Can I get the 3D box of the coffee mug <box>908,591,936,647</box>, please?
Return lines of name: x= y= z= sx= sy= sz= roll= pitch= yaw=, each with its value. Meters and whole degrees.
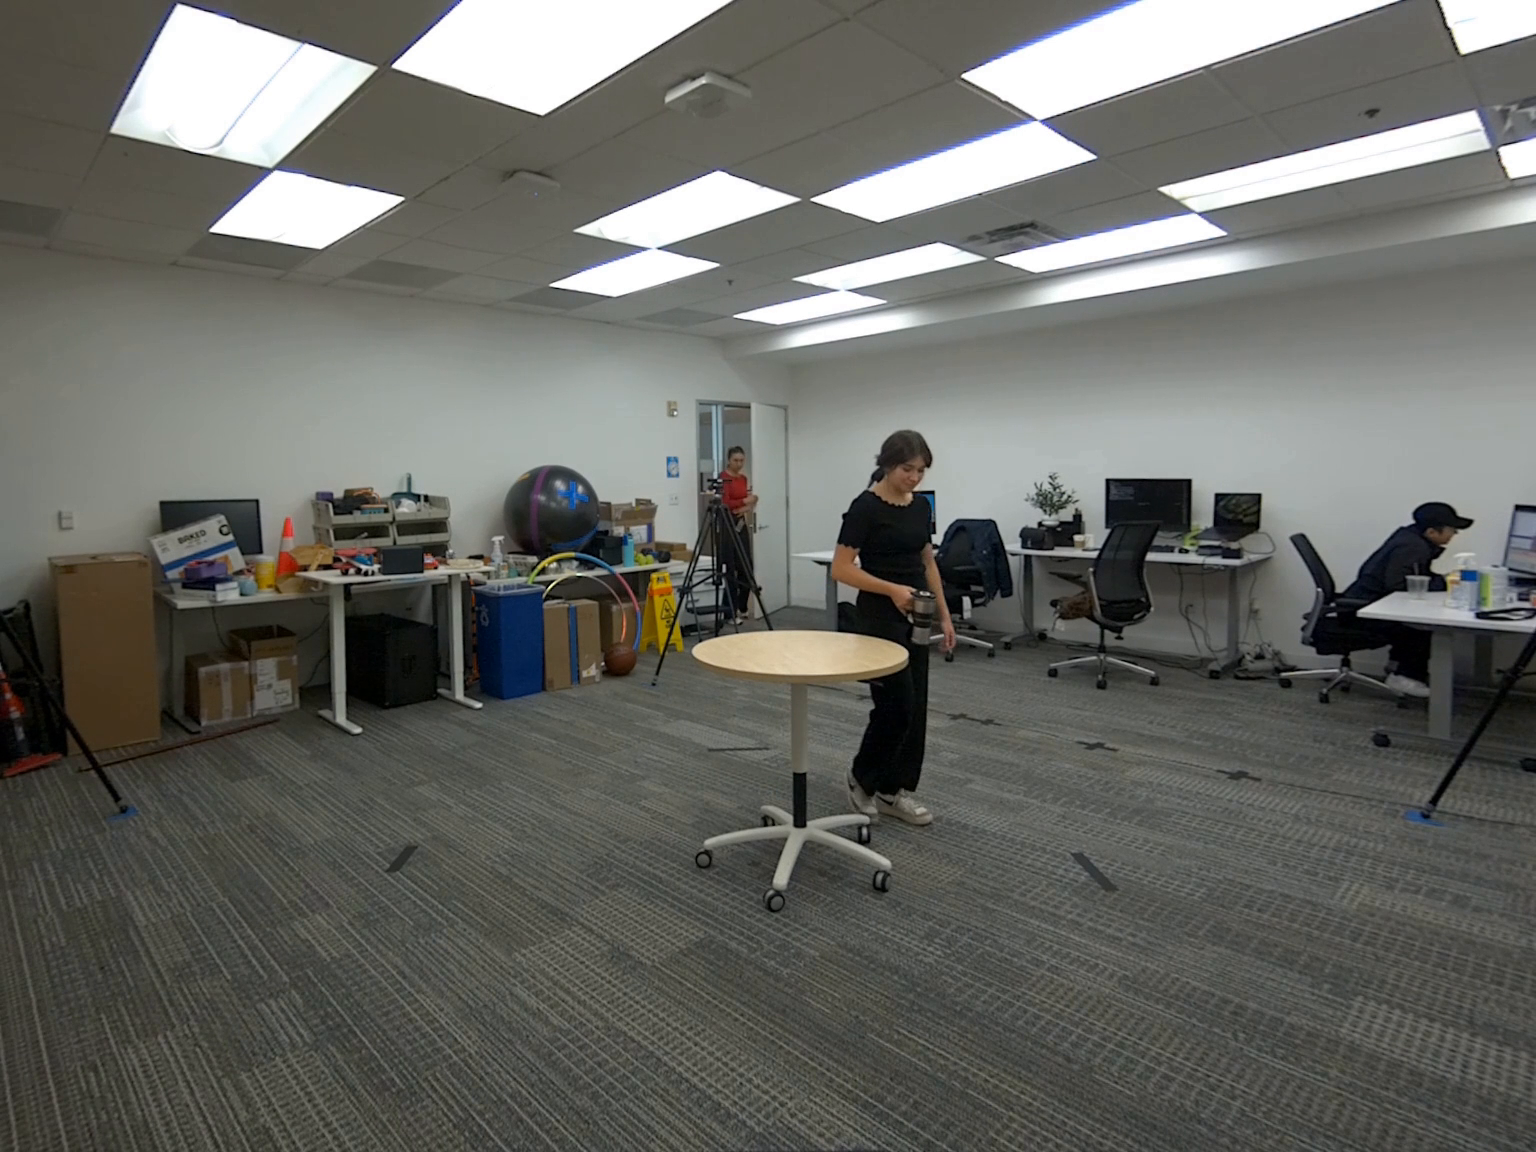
coffee mug: x=0.597 y=0.164 z=3.272 sx=0.090 sy=0.201 sz=0.120 roll=7 pitch=14 yaw=28
